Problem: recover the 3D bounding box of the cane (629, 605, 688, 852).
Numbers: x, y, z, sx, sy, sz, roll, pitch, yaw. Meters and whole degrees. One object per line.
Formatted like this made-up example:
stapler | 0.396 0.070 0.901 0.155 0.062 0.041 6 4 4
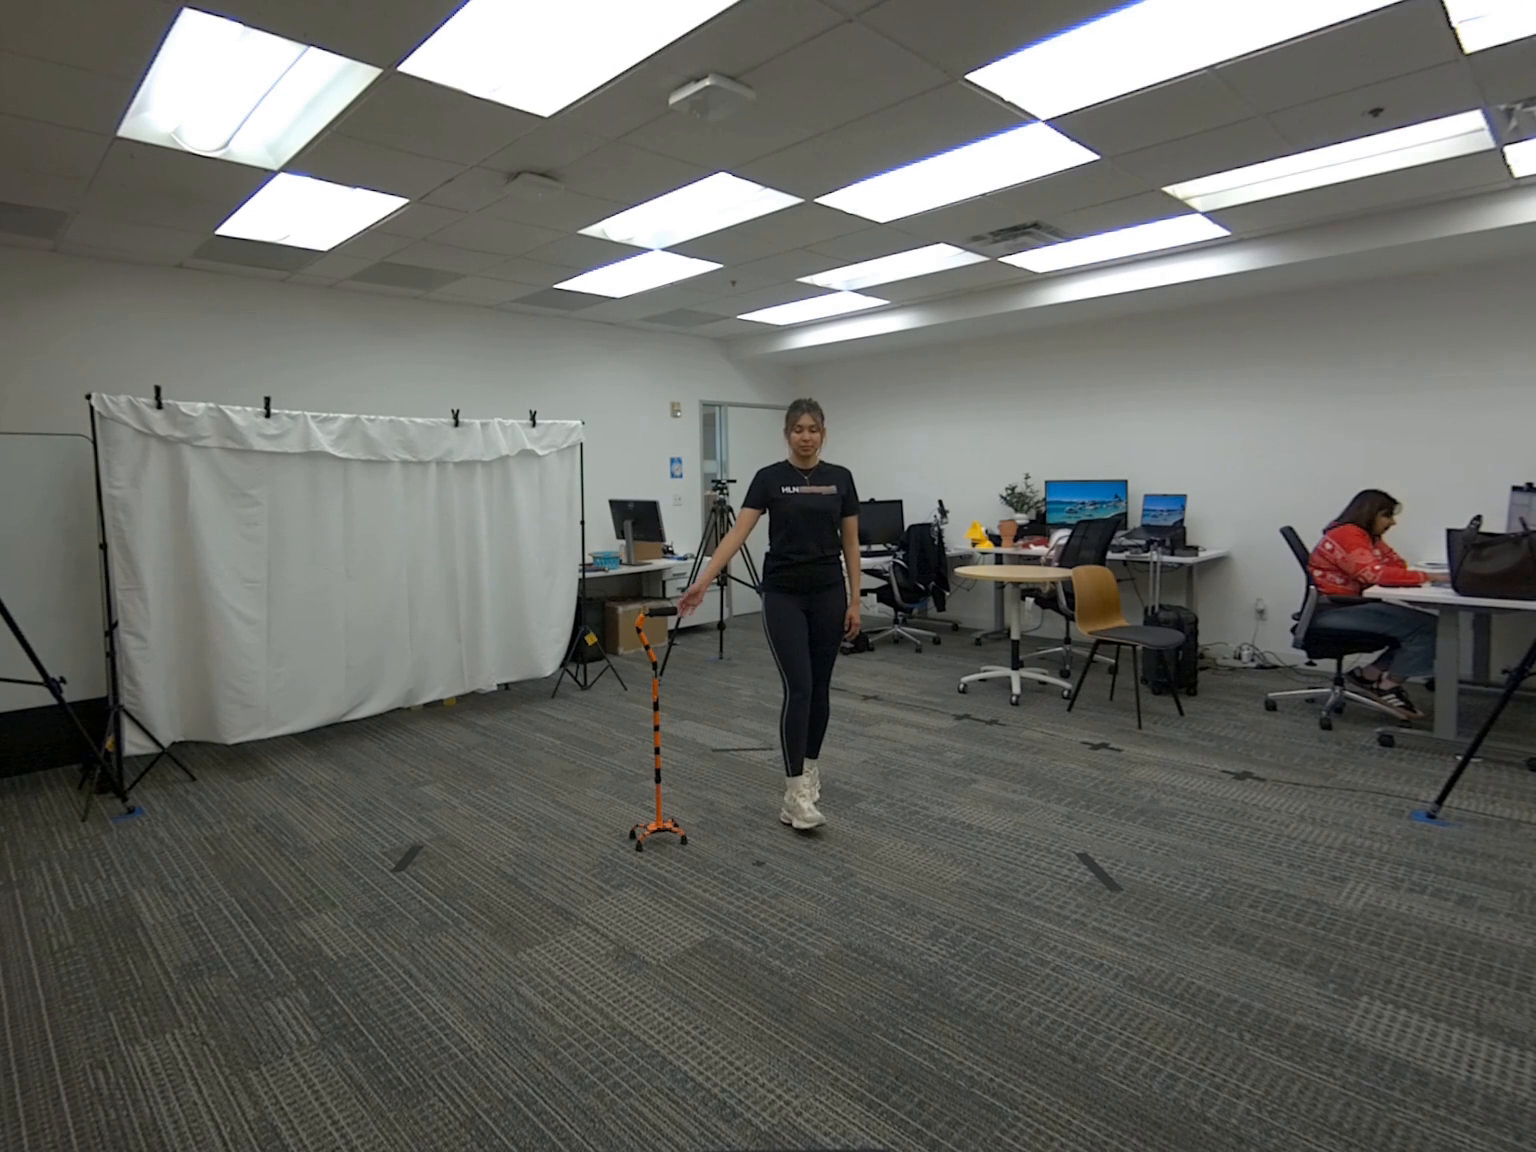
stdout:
cane | -0.433 0.581 3.298 0.203 0.905 0.154 -2 4 -16
